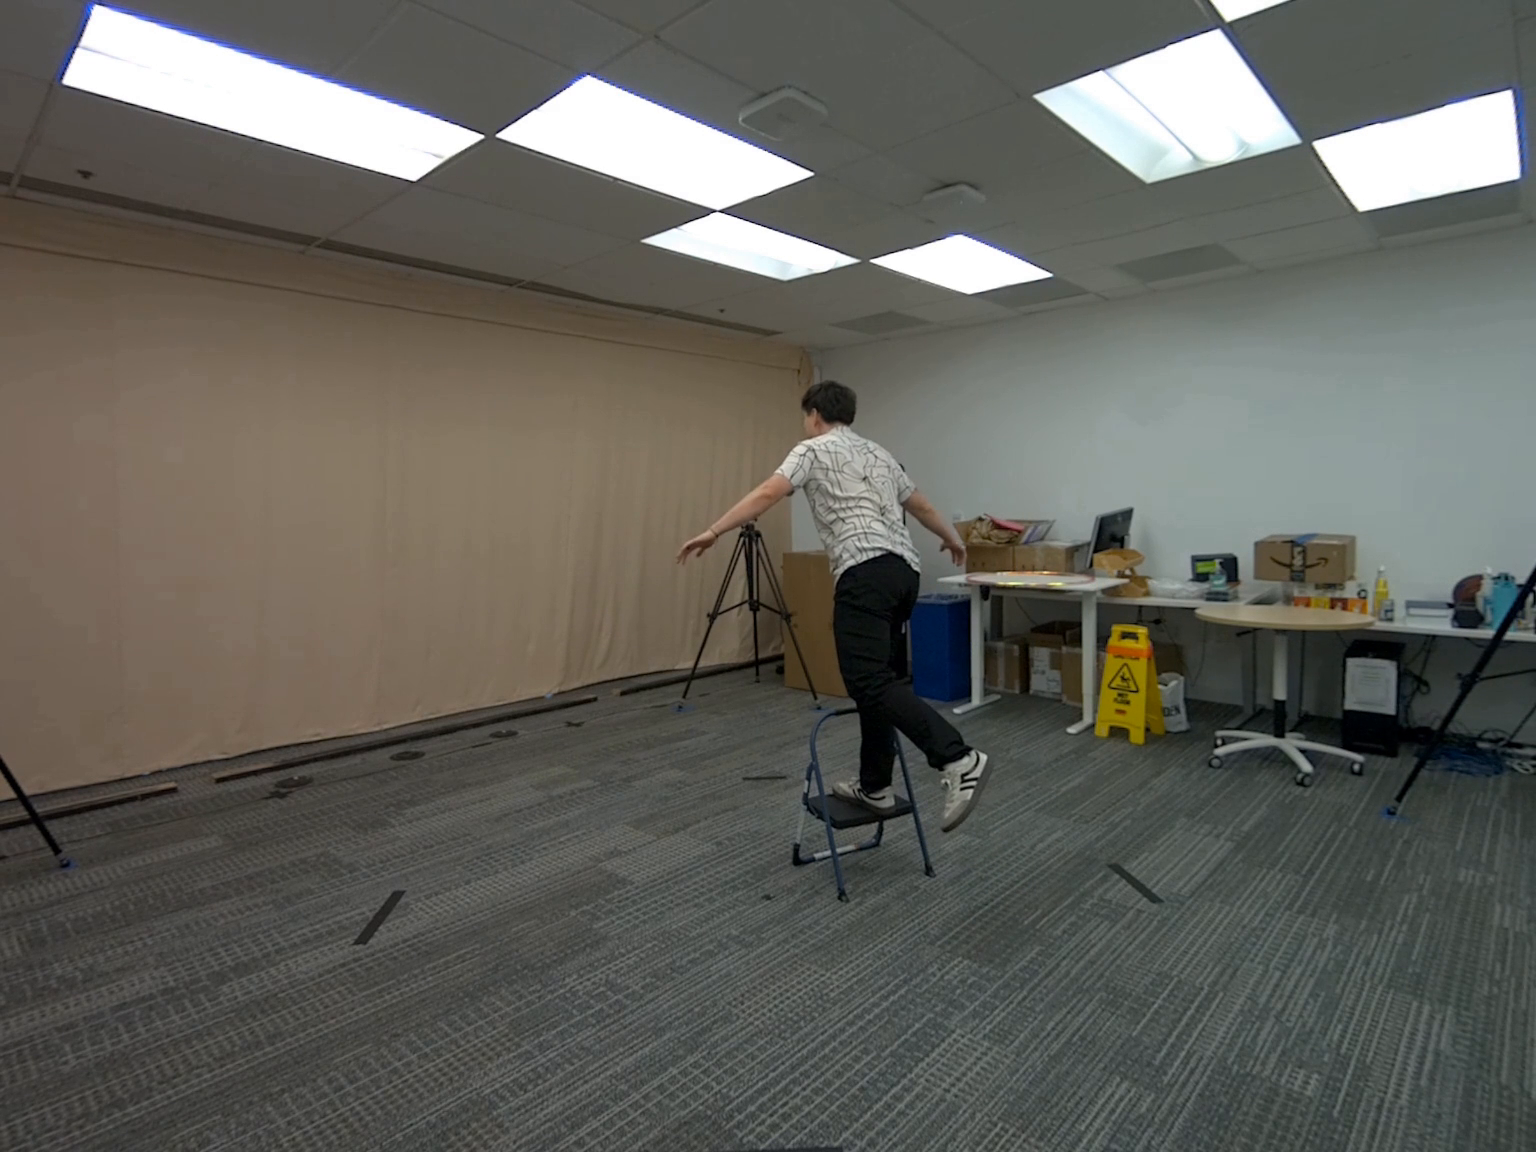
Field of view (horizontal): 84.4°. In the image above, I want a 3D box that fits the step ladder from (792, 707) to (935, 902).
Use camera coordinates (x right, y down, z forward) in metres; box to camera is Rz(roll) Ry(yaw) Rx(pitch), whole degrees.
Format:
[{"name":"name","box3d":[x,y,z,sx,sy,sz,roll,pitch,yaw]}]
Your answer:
[{"name":"step ladder","box3d":[0.356,0.813,3.173,0.419,0.605,0.359,-3,4,-30]}]
